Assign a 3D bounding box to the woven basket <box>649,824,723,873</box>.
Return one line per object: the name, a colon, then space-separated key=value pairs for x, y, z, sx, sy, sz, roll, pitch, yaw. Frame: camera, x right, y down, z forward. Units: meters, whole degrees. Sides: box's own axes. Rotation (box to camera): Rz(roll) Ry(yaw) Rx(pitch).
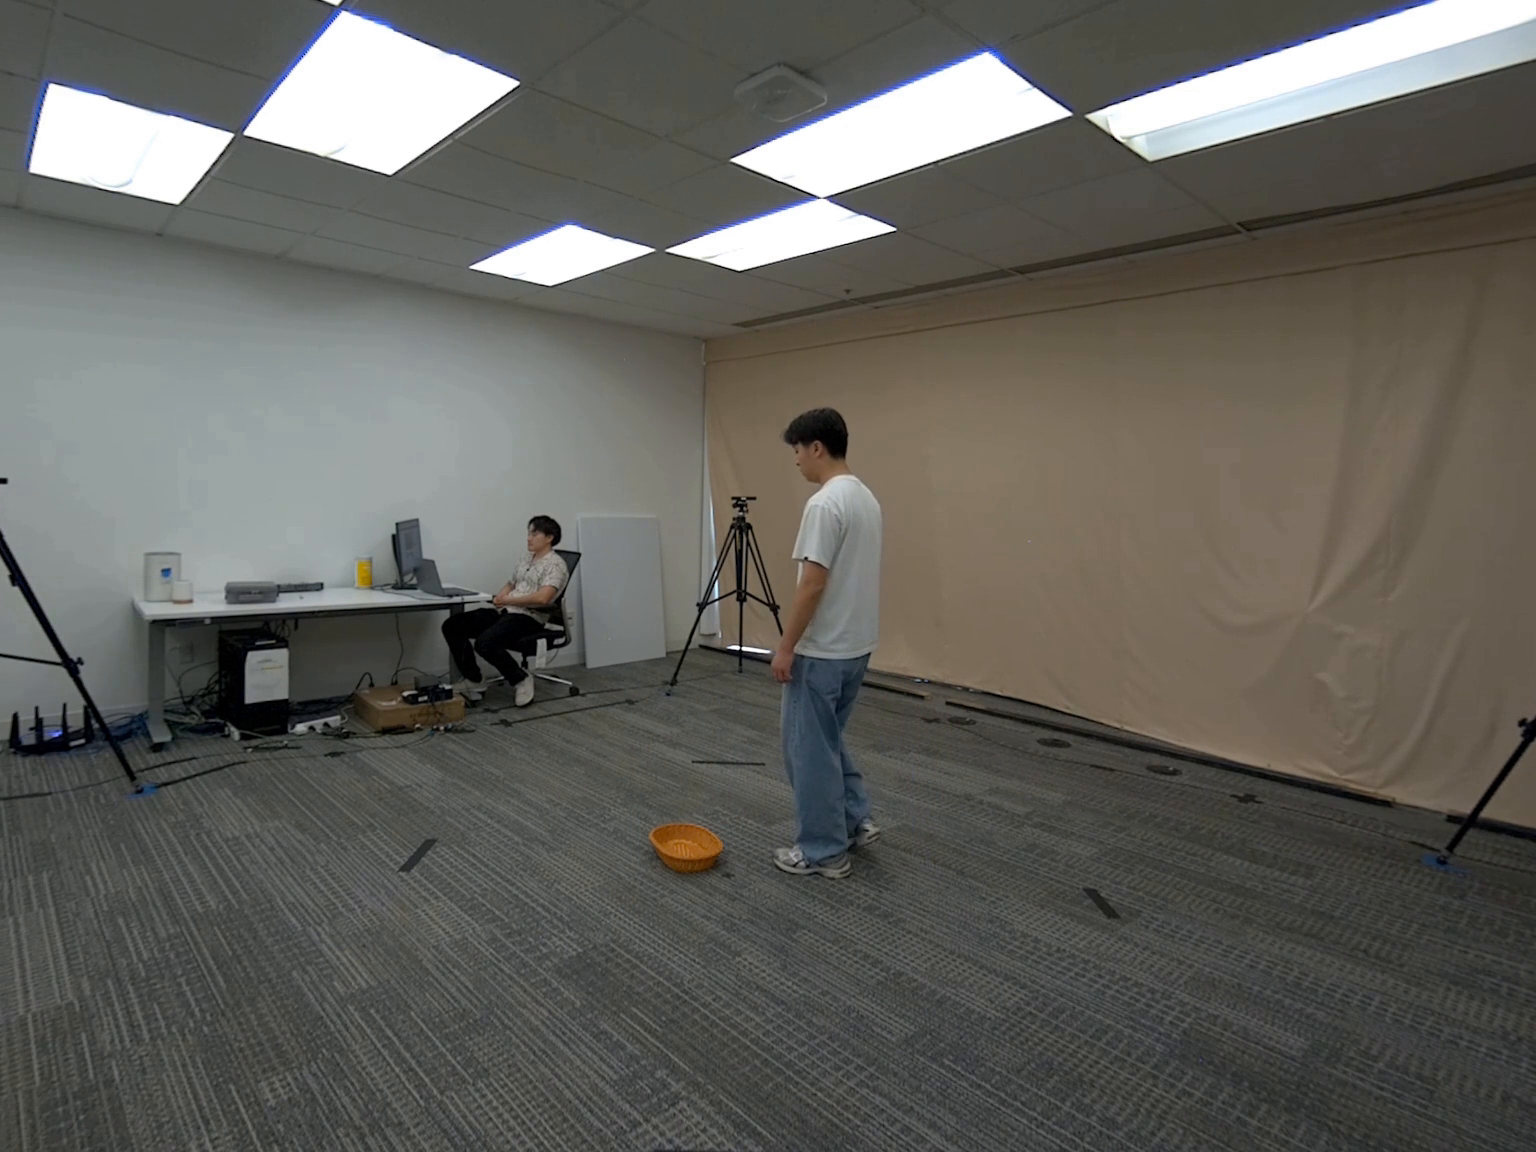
woven basket: x=-0.326 y=1.047 z=3.244 sx=0.248 sy=0.073 sz=0.358 roll=-1 pitch=5 yaw=-25
